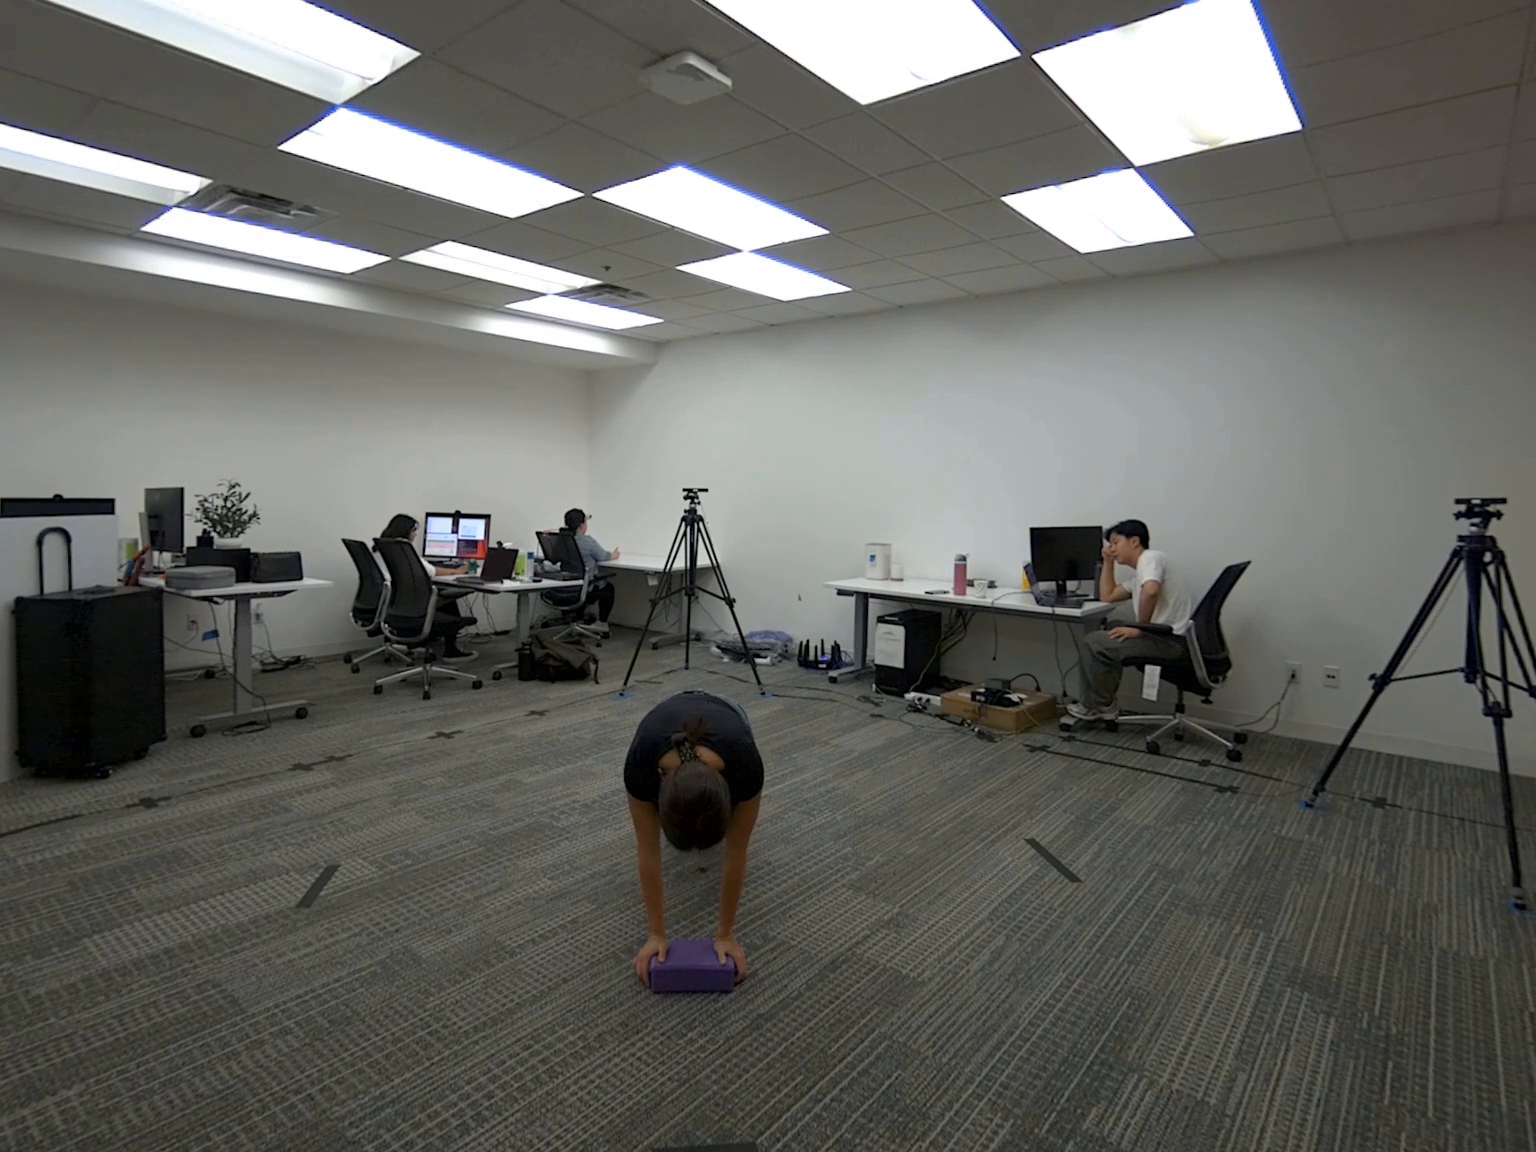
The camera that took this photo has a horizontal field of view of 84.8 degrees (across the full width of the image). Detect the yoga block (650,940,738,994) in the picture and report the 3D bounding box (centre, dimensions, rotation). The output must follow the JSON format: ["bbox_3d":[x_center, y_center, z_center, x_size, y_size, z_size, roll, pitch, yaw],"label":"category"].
[{"bbox_3d":[-0.219,1.100,2.408,0.228,0.076,0.150,0,5,-4],"label":"yoga block"}]
